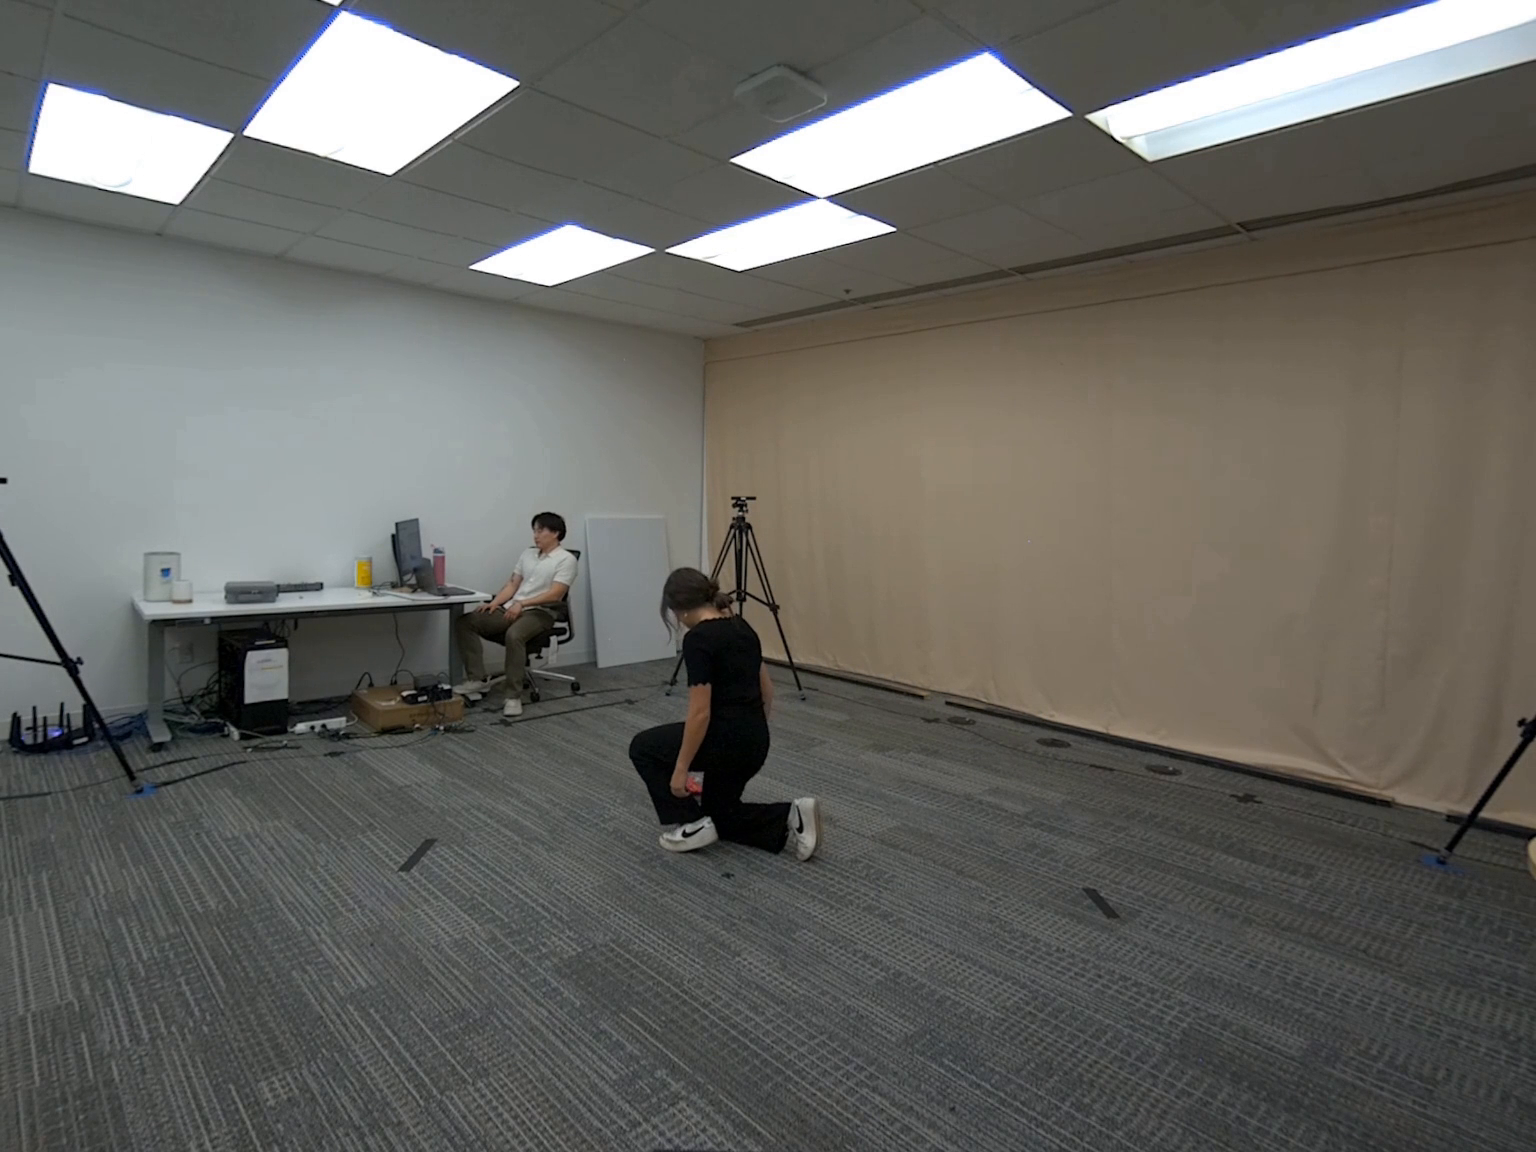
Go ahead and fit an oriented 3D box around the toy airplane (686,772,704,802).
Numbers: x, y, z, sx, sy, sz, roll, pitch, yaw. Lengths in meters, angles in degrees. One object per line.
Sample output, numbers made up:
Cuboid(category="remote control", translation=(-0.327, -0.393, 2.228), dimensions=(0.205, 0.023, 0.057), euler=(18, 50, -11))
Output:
Cuboid(category="toy airplane", translation=(-0.334, 0.976, 3.729), dimensions=(0.257, 0.156, 0.253), euler=(4, 6, 39))
